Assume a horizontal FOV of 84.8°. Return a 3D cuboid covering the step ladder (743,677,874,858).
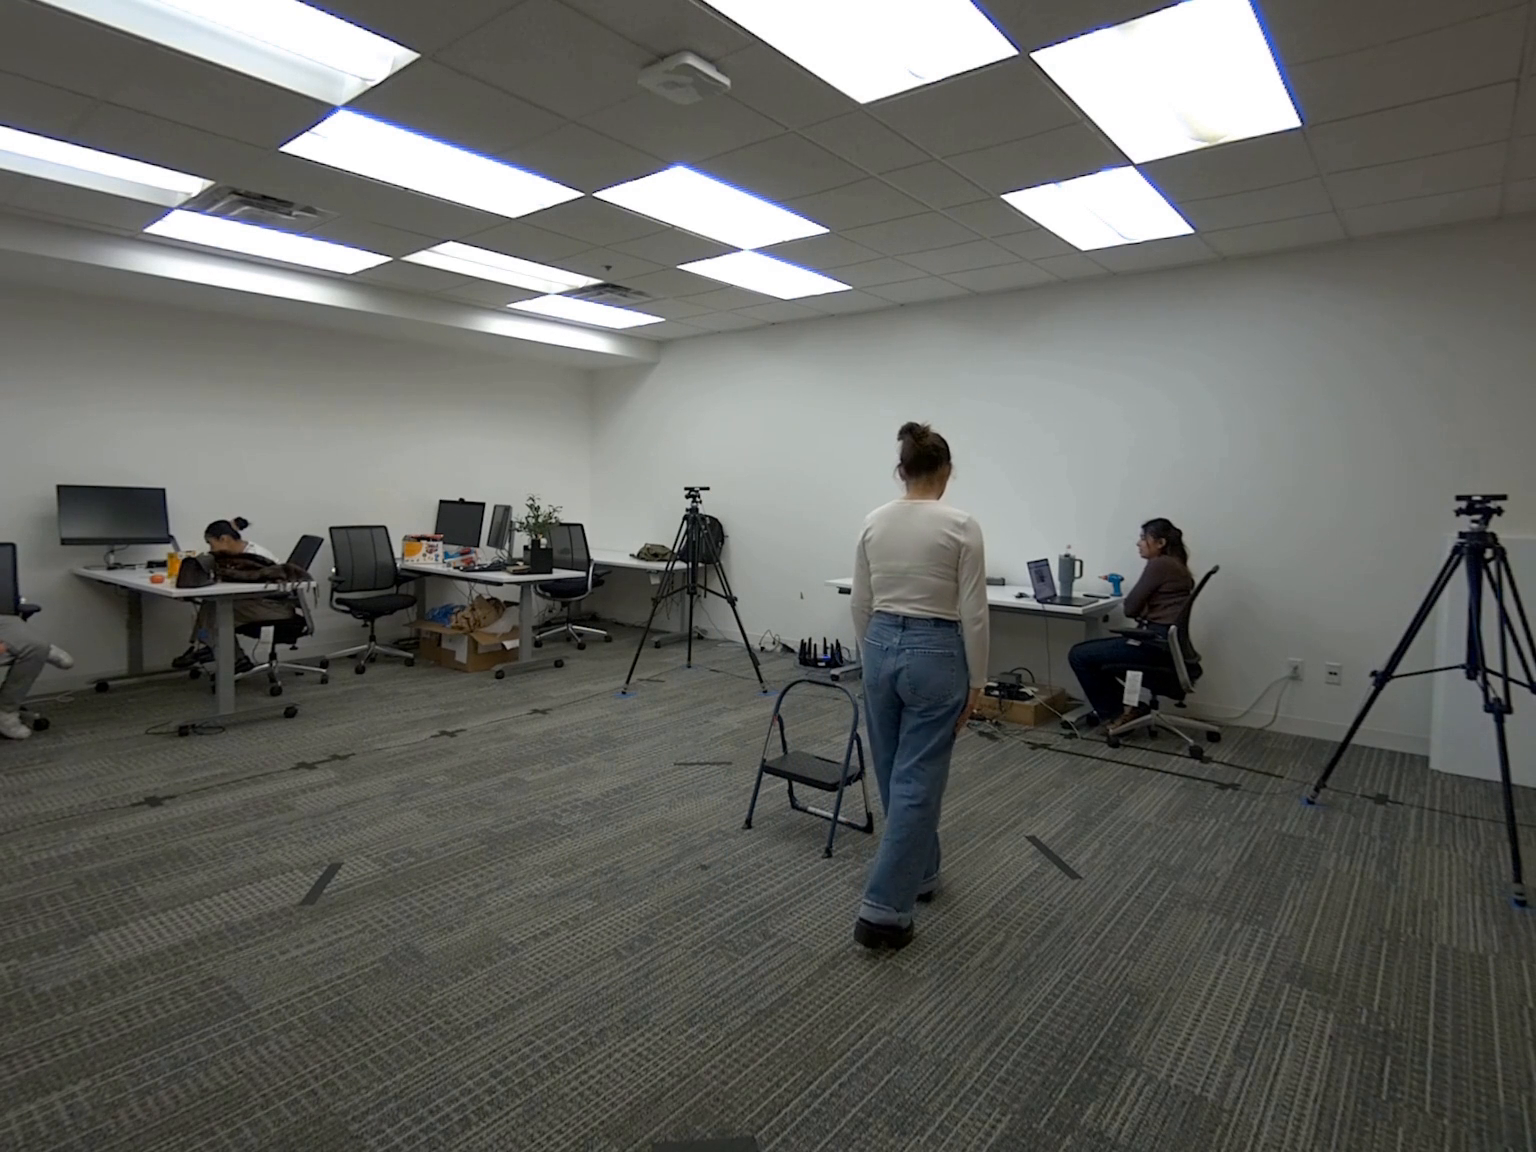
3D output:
[{"bbox_3d":[0.165,0.734,3.461,0.445,0.604,0.339,4,4,39],"label":"step ladder"}]
